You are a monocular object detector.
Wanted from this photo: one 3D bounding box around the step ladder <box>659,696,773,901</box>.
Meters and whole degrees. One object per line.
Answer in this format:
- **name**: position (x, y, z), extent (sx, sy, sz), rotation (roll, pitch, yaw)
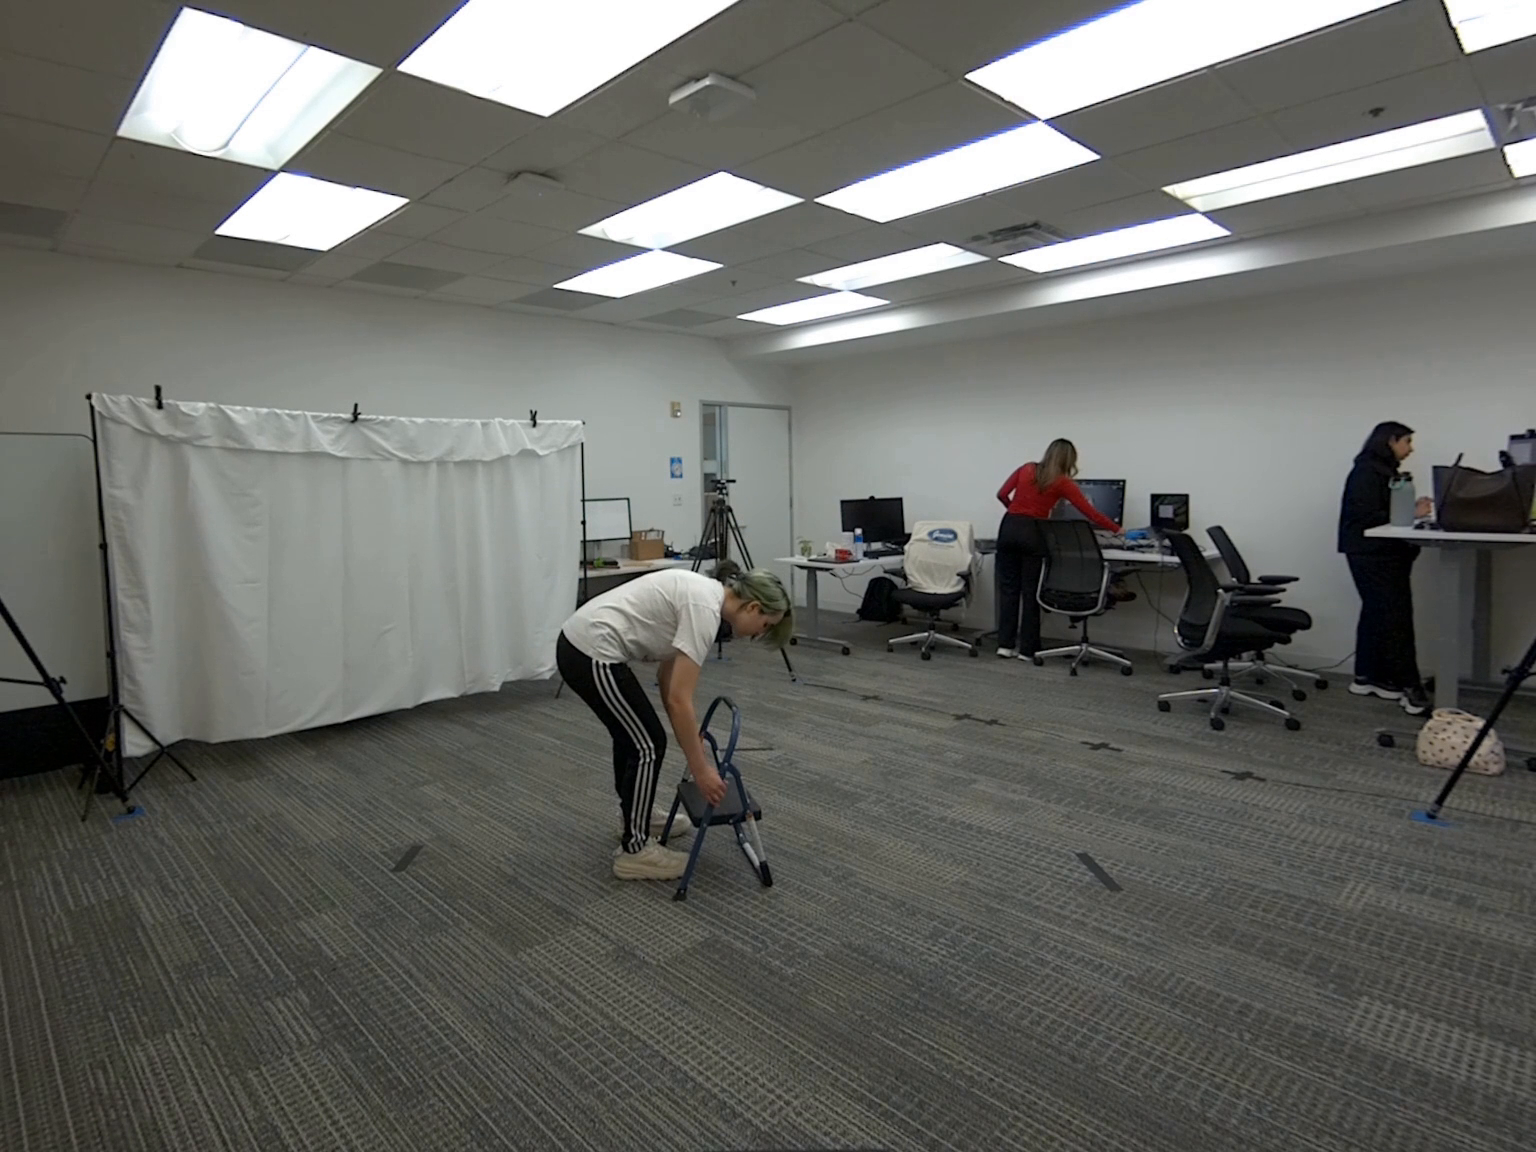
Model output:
- **step ladder**: position (-0.201, 0.756, 3.065), extent (0.345, 0.603, 0.438), rotation (-1, 5, -15)
